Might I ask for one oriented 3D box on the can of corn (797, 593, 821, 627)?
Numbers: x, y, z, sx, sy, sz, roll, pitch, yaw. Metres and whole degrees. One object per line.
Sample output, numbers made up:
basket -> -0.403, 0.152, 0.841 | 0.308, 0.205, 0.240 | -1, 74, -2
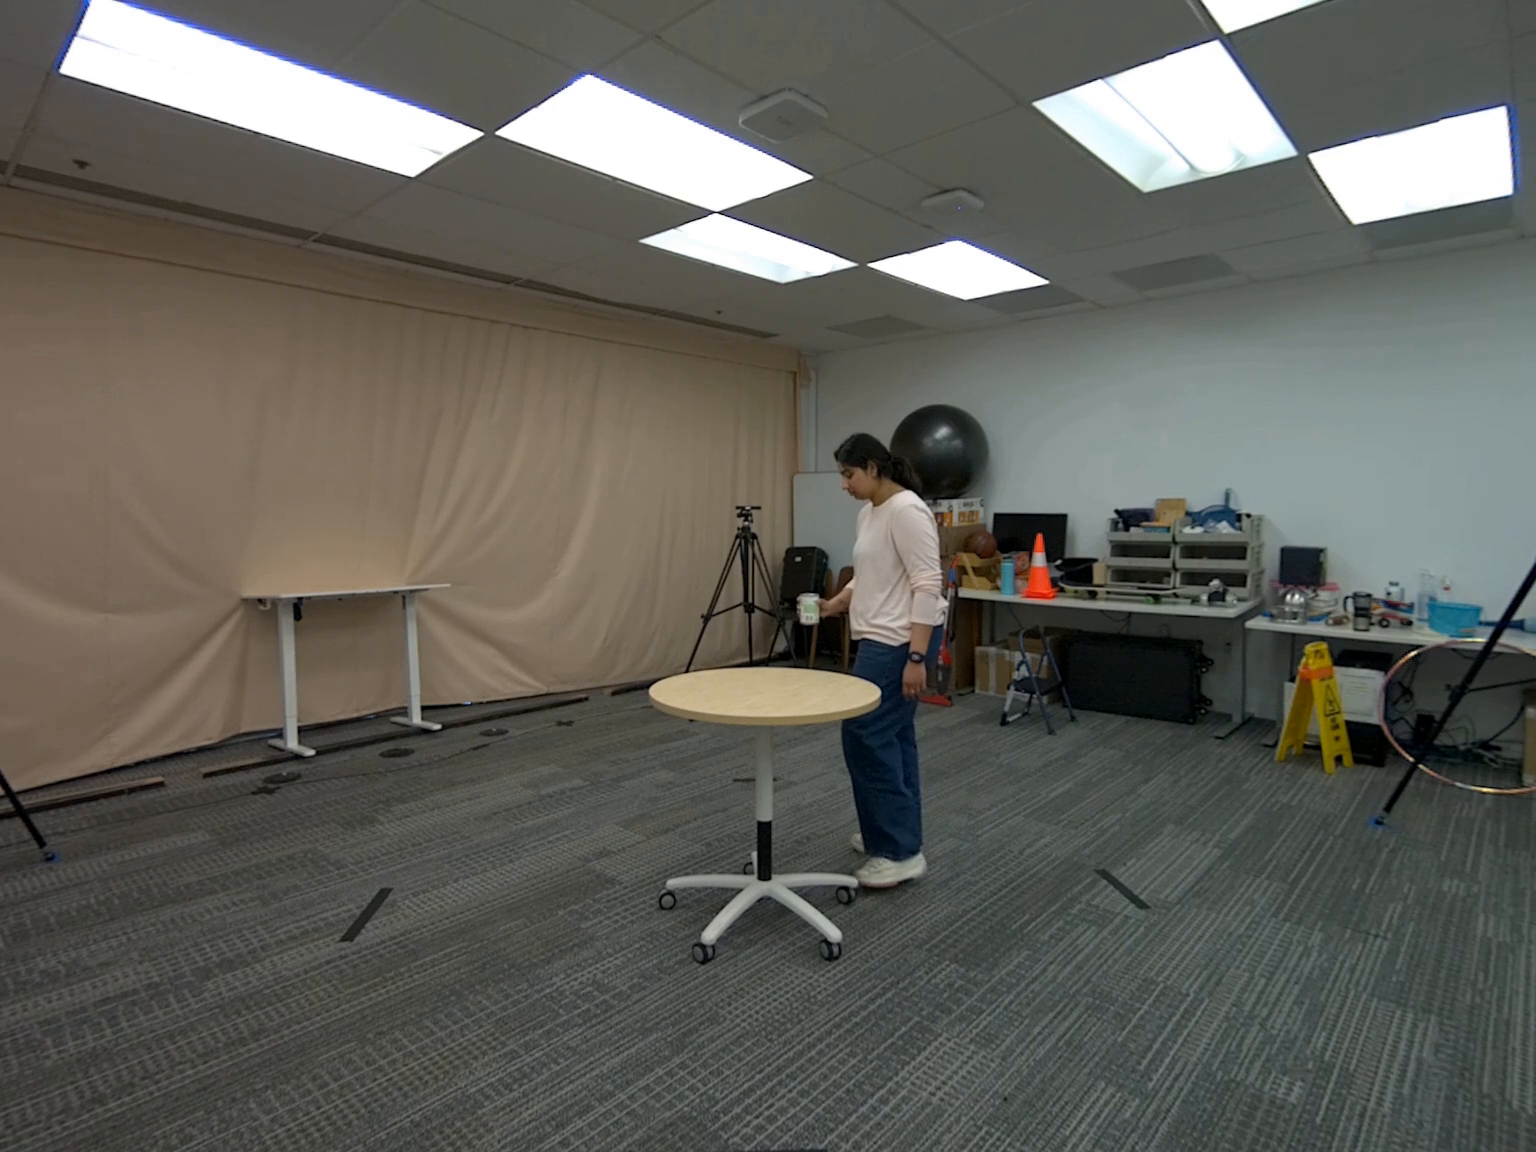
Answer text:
can of corn -> 0.162, 0.130, 3.260 | 0.074, 0.111, 0.074 | -1, 3, -2
